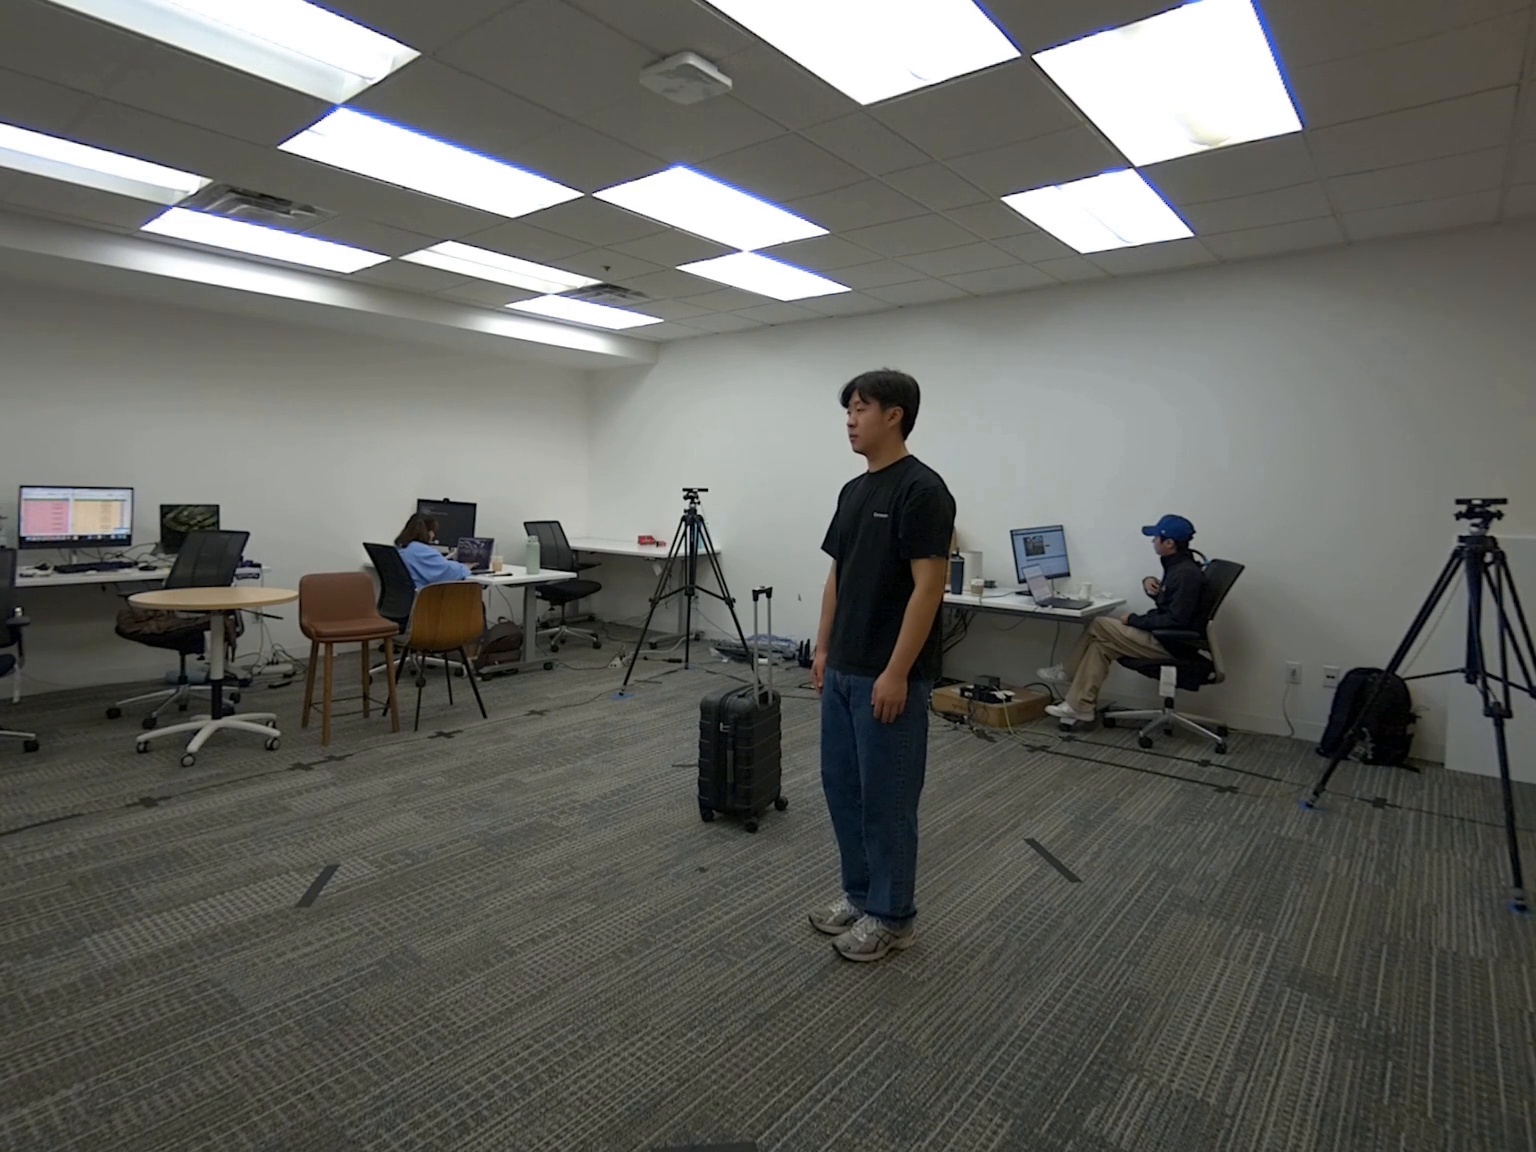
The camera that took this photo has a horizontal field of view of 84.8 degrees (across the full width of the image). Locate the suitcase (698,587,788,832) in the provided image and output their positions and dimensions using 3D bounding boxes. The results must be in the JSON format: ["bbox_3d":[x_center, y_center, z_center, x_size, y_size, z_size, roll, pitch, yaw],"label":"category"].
[{"bbox_3d":[-0.133,0.545,3.631,0.264,0.977,0.374,-2,1,28],"label":"suitcase"}]
